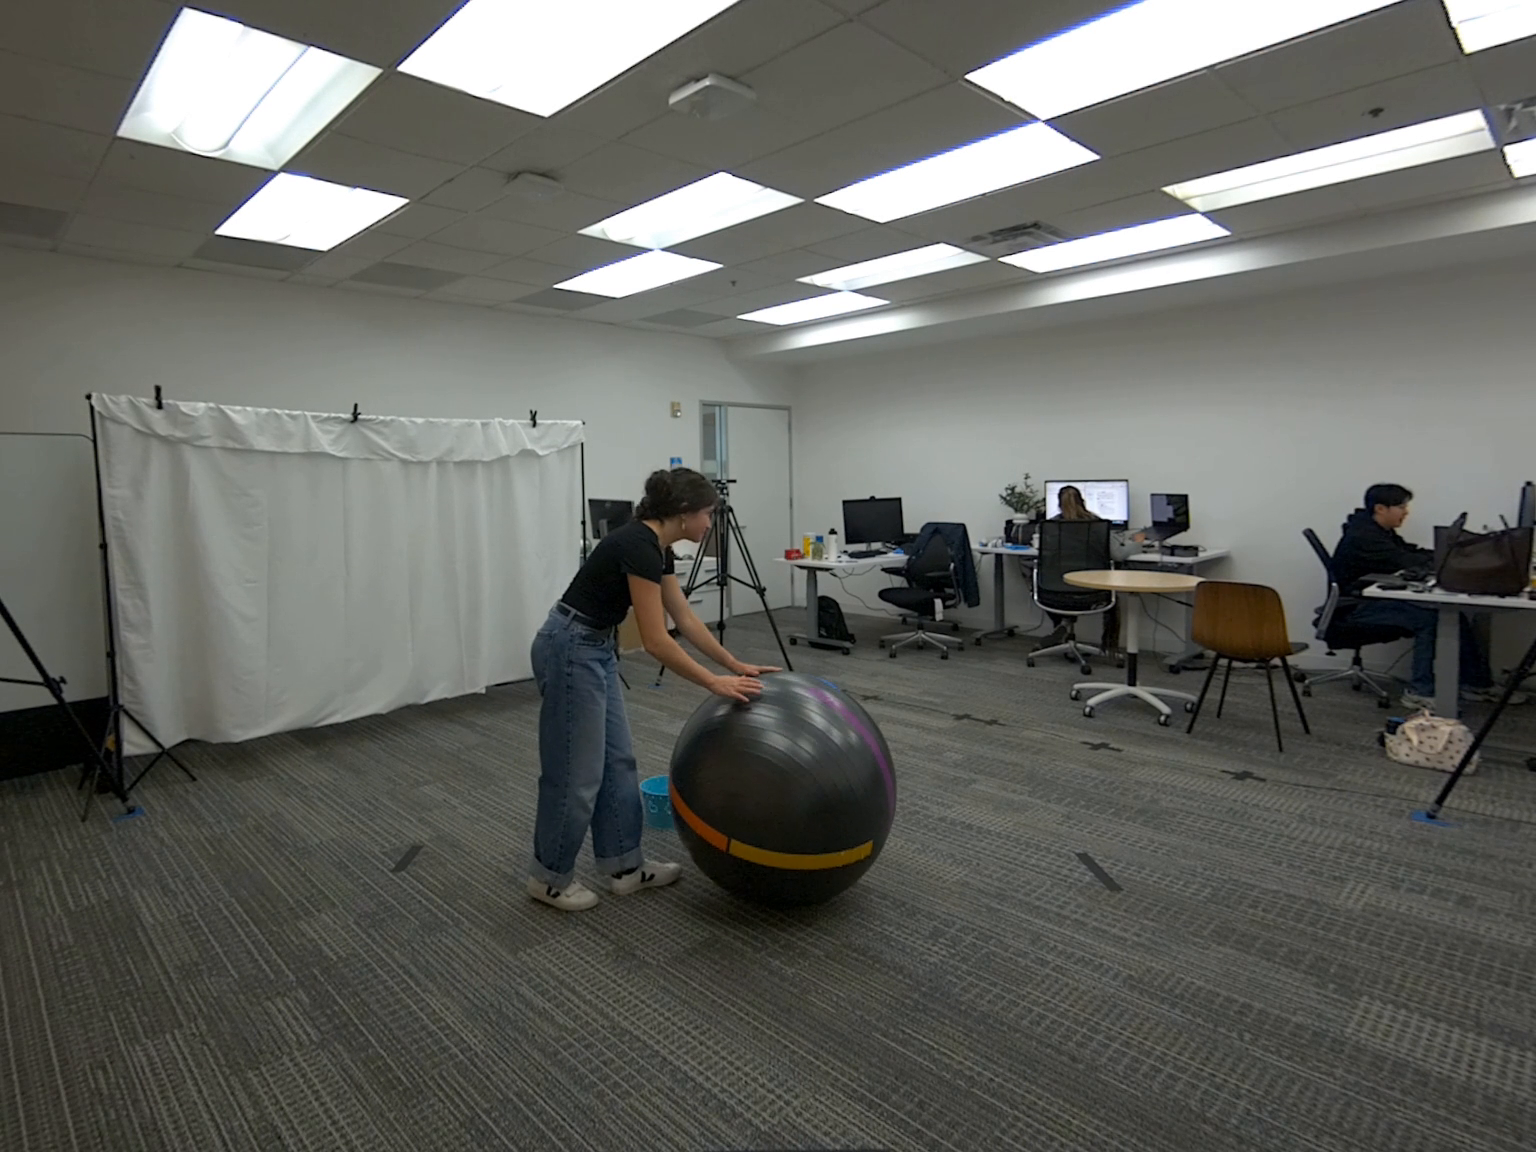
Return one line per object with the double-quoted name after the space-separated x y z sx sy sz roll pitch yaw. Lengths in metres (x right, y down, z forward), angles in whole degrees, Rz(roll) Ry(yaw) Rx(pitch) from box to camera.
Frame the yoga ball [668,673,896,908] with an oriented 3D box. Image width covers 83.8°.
0.048 0.704 2.871 0.757 0.755 0.762 -1 5 -2 "yoga ball"
